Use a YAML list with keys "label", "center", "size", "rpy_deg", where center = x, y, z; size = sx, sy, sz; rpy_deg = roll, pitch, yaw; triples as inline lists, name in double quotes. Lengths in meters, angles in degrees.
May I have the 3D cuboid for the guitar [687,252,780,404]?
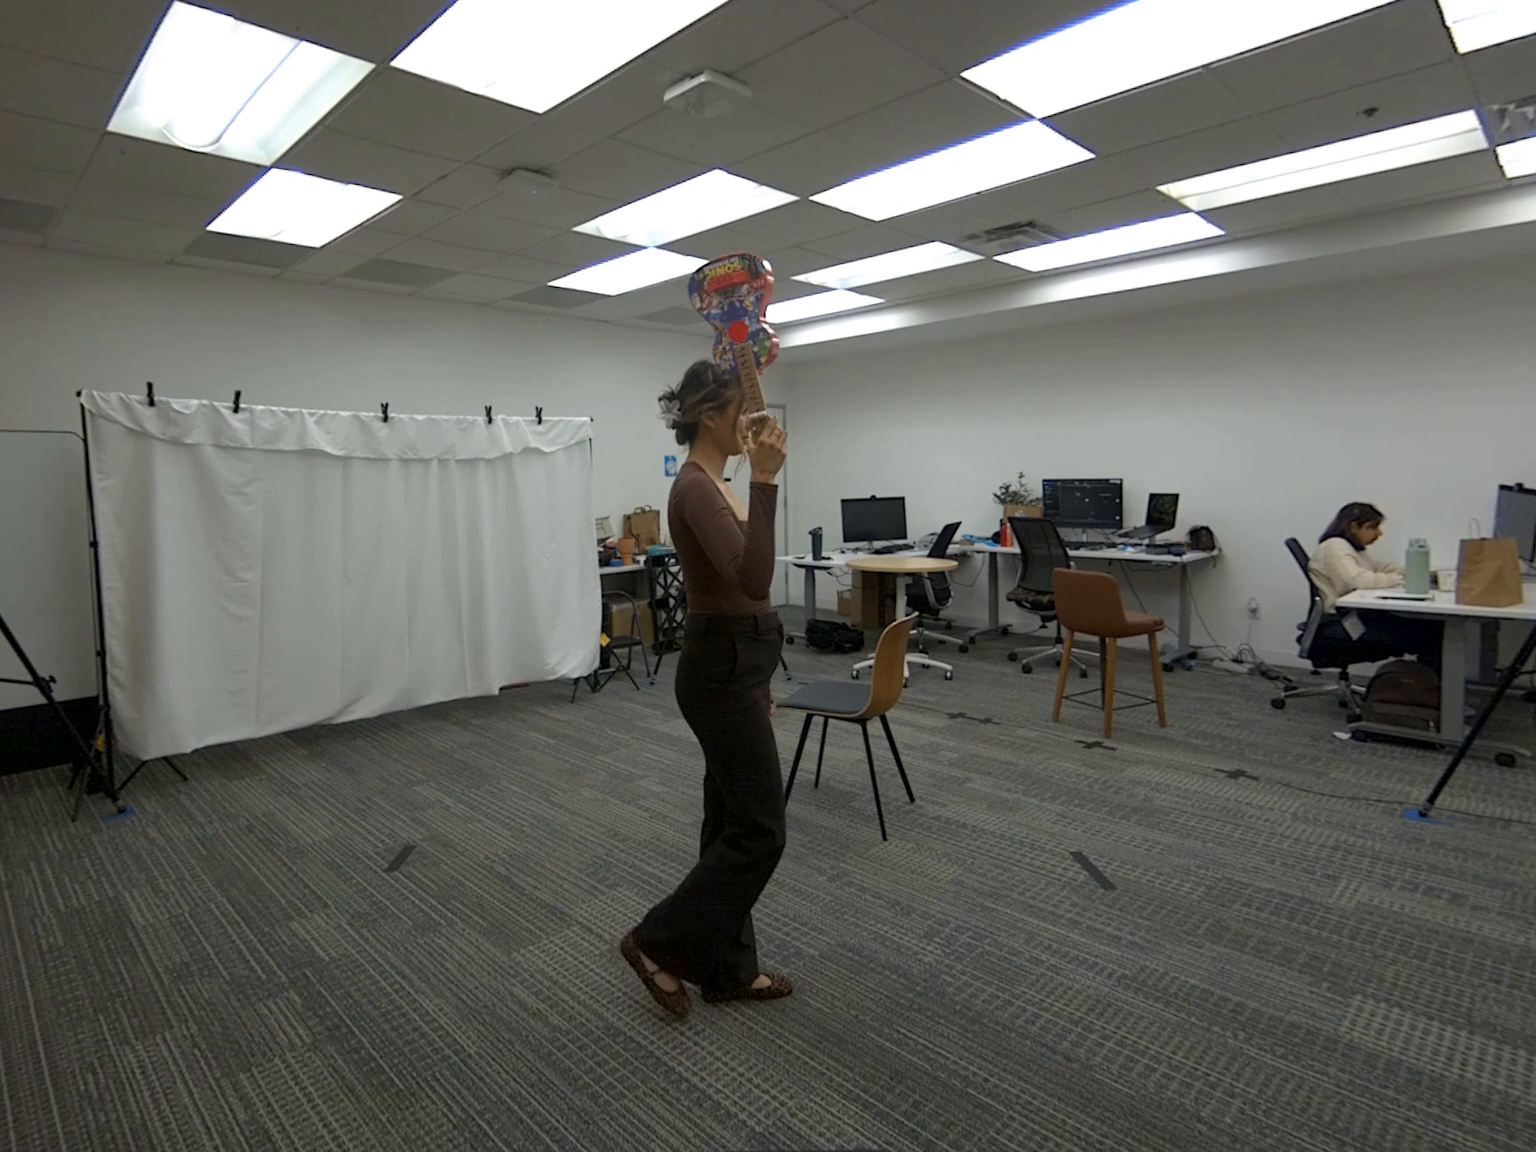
- label: "guitar"
  center: [-0.067, -0.492, 2.000]
  size: [0.196, 0.493, 0.070]
  rpy_deg: [-1, 9, 16]
